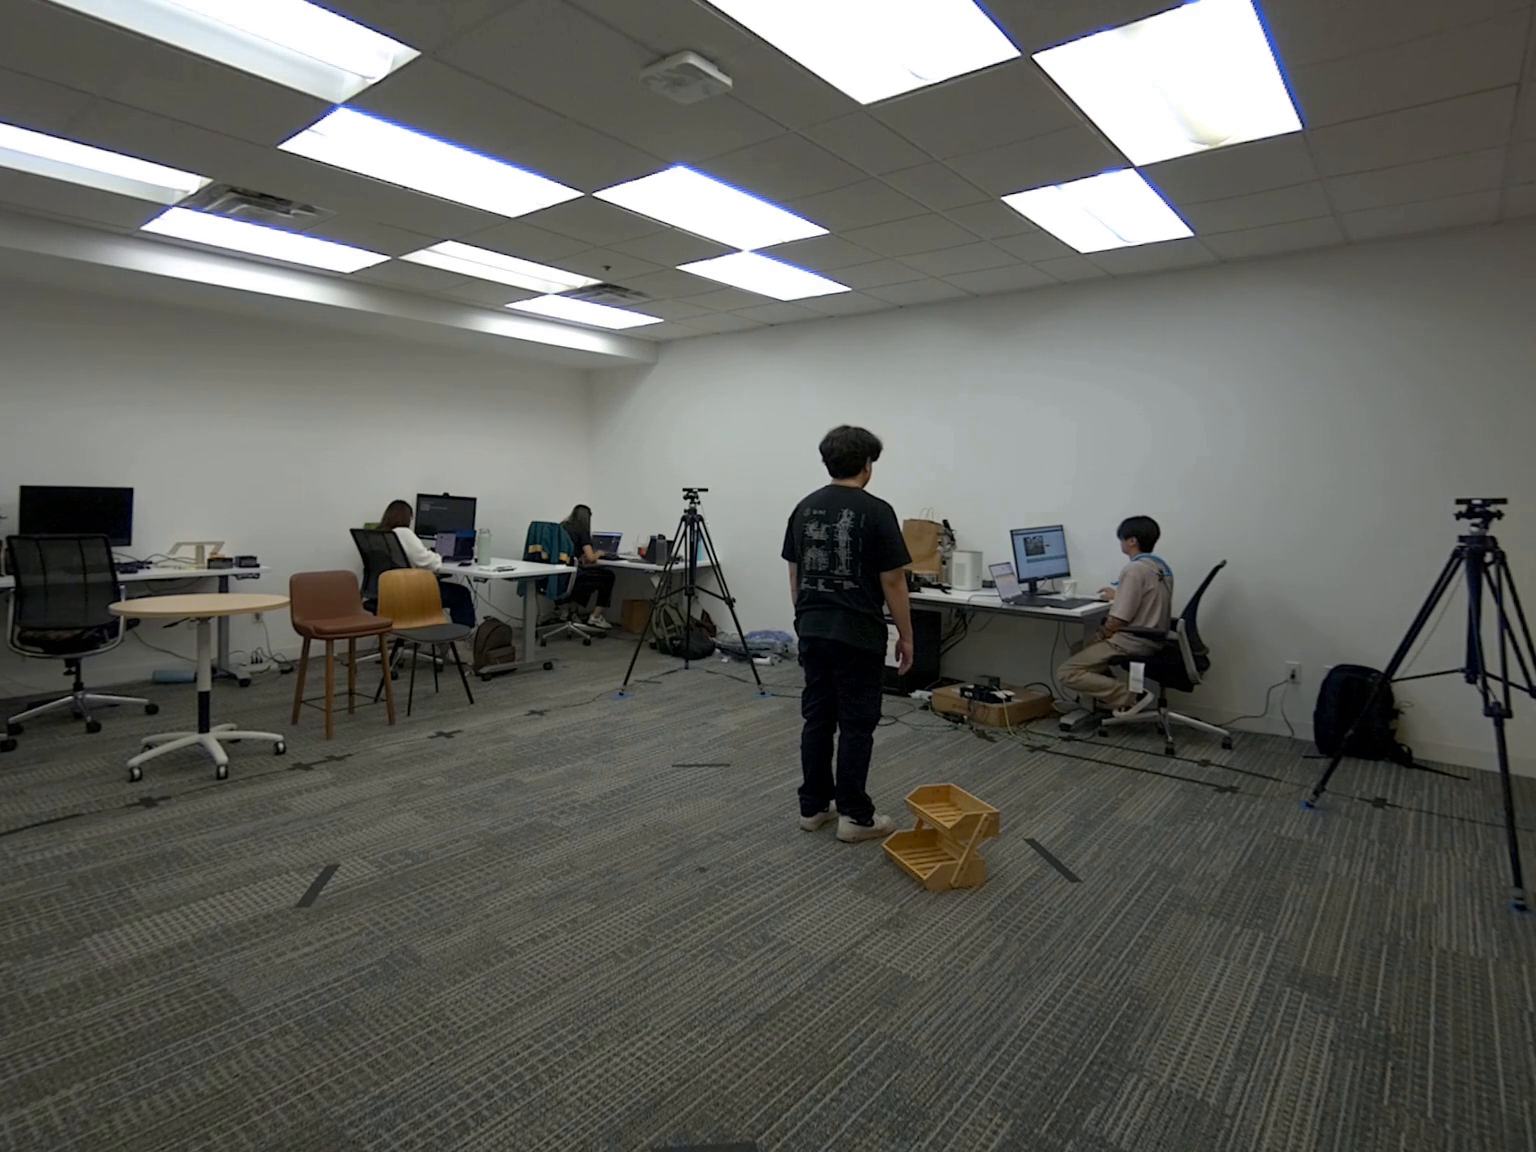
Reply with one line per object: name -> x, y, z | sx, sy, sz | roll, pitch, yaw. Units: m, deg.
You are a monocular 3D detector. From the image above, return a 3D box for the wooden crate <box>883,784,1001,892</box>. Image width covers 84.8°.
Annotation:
wooden crate -> 0.625, 0.947, 3.156 | 0.296, 0.272, 0.332 | 0, 5, -22
